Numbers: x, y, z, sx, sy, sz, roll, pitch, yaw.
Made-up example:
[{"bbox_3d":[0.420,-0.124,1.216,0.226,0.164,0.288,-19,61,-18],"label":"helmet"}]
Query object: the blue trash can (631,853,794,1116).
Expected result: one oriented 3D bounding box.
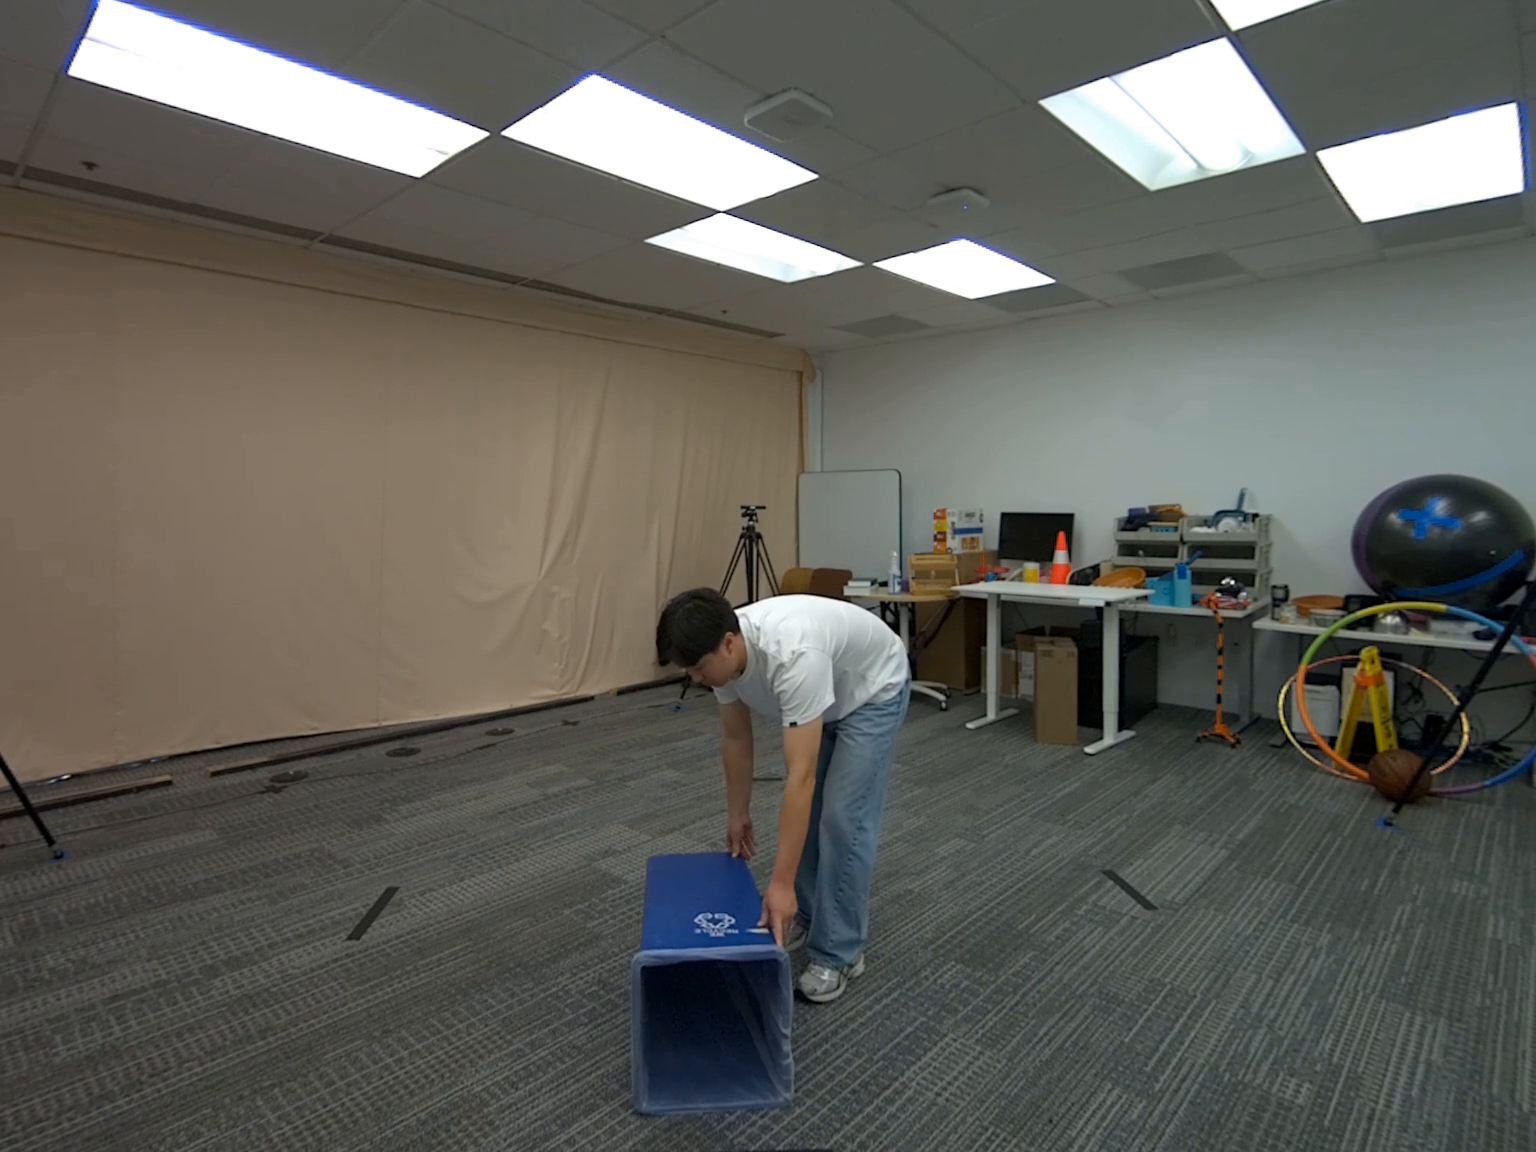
[{"bbox_3d":[-0.179,1.037,2.276,0.371,0.378,0.719,0,1,-8],"label":"blue trash can"}]
